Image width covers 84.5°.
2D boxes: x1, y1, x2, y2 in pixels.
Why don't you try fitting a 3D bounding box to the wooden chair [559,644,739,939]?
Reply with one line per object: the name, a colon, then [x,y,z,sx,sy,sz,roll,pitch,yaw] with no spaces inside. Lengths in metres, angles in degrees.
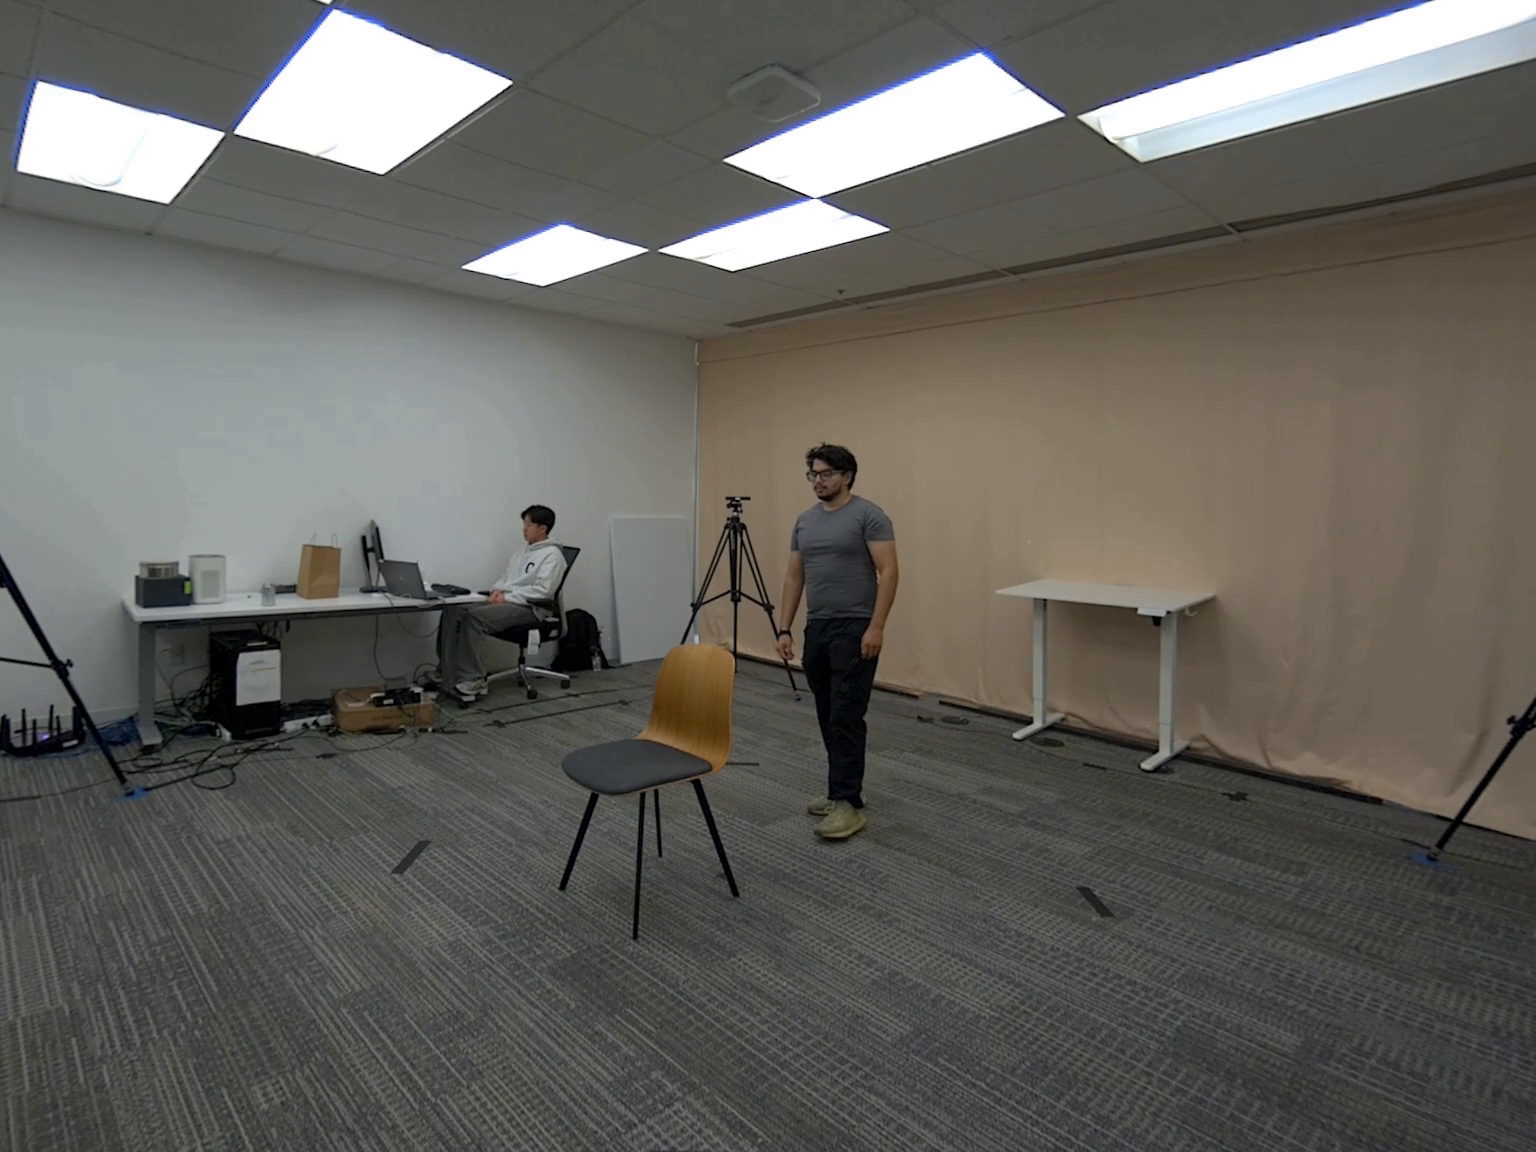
wooden chair: [-0.418,0.691,2.915,0.510,0.877,0.490,4,1,-44]
